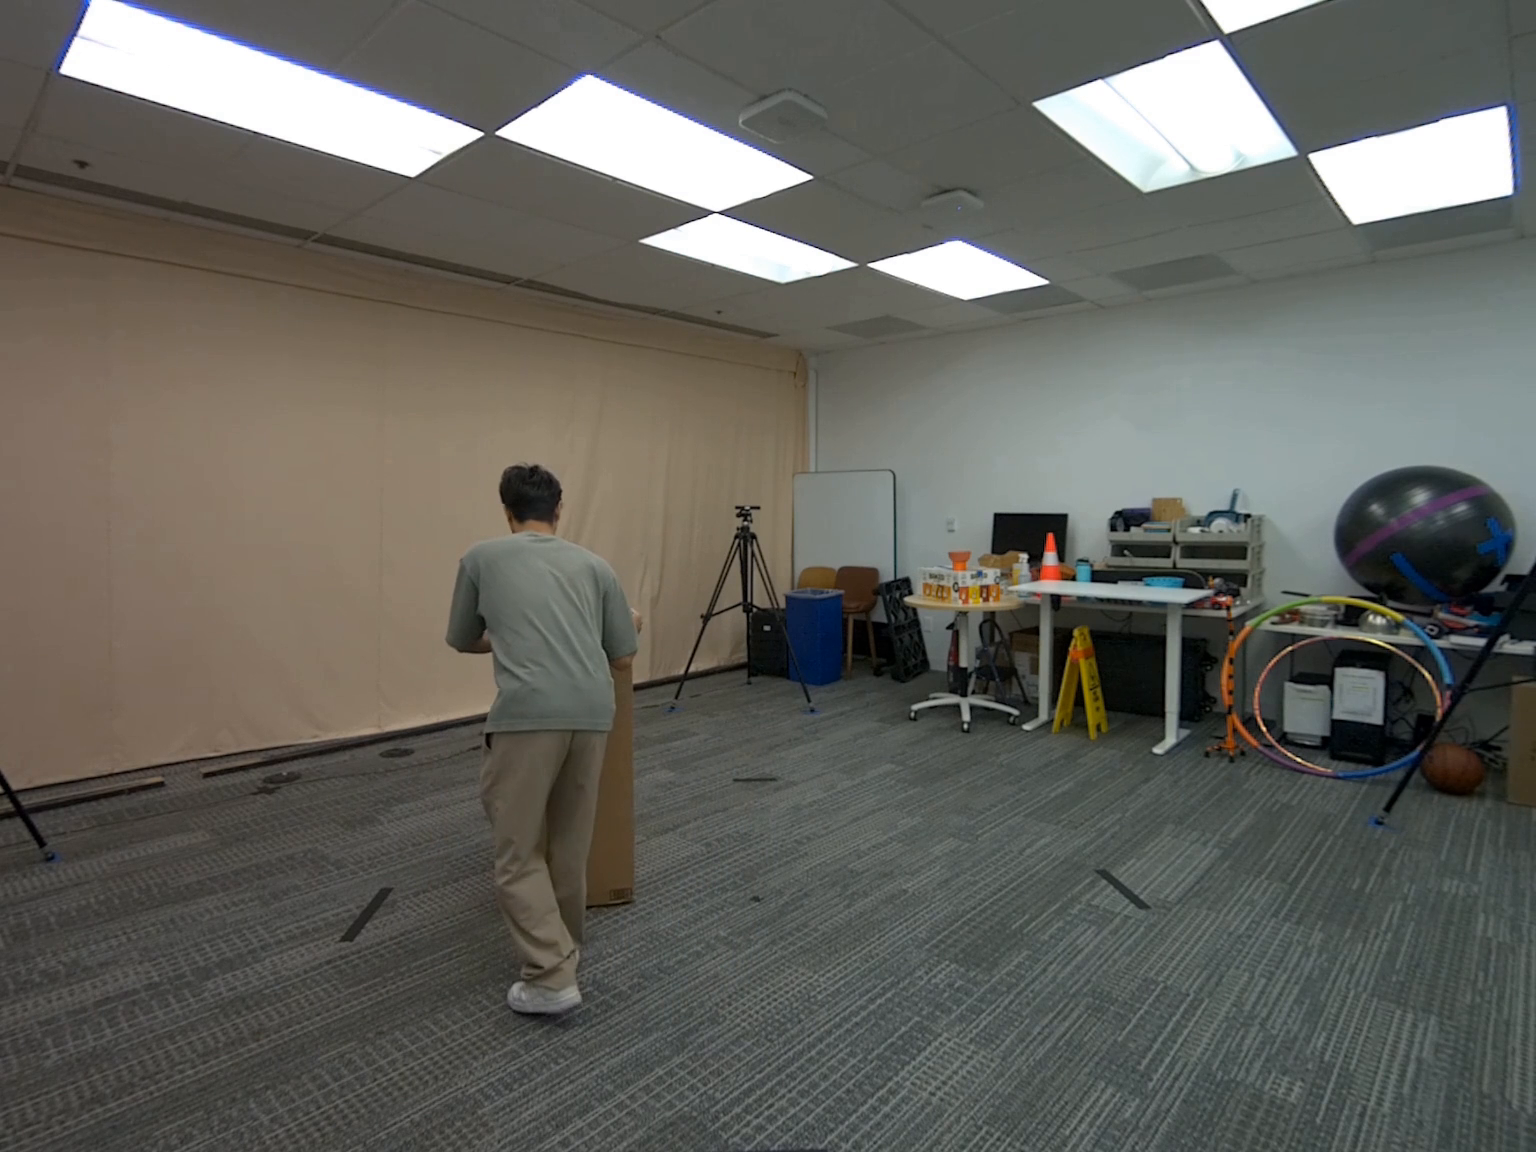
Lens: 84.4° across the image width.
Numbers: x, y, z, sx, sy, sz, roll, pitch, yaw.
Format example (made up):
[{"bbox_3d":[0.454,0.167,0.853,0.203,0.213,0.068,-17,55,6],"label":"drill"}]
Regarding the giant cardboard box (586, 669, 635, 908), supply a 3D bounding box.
[{"bbox_3d":[-0.749,0.623,3.168,0.420,1.025,0.587,-1,2,-15],"label":"giant cardboard box"}]
